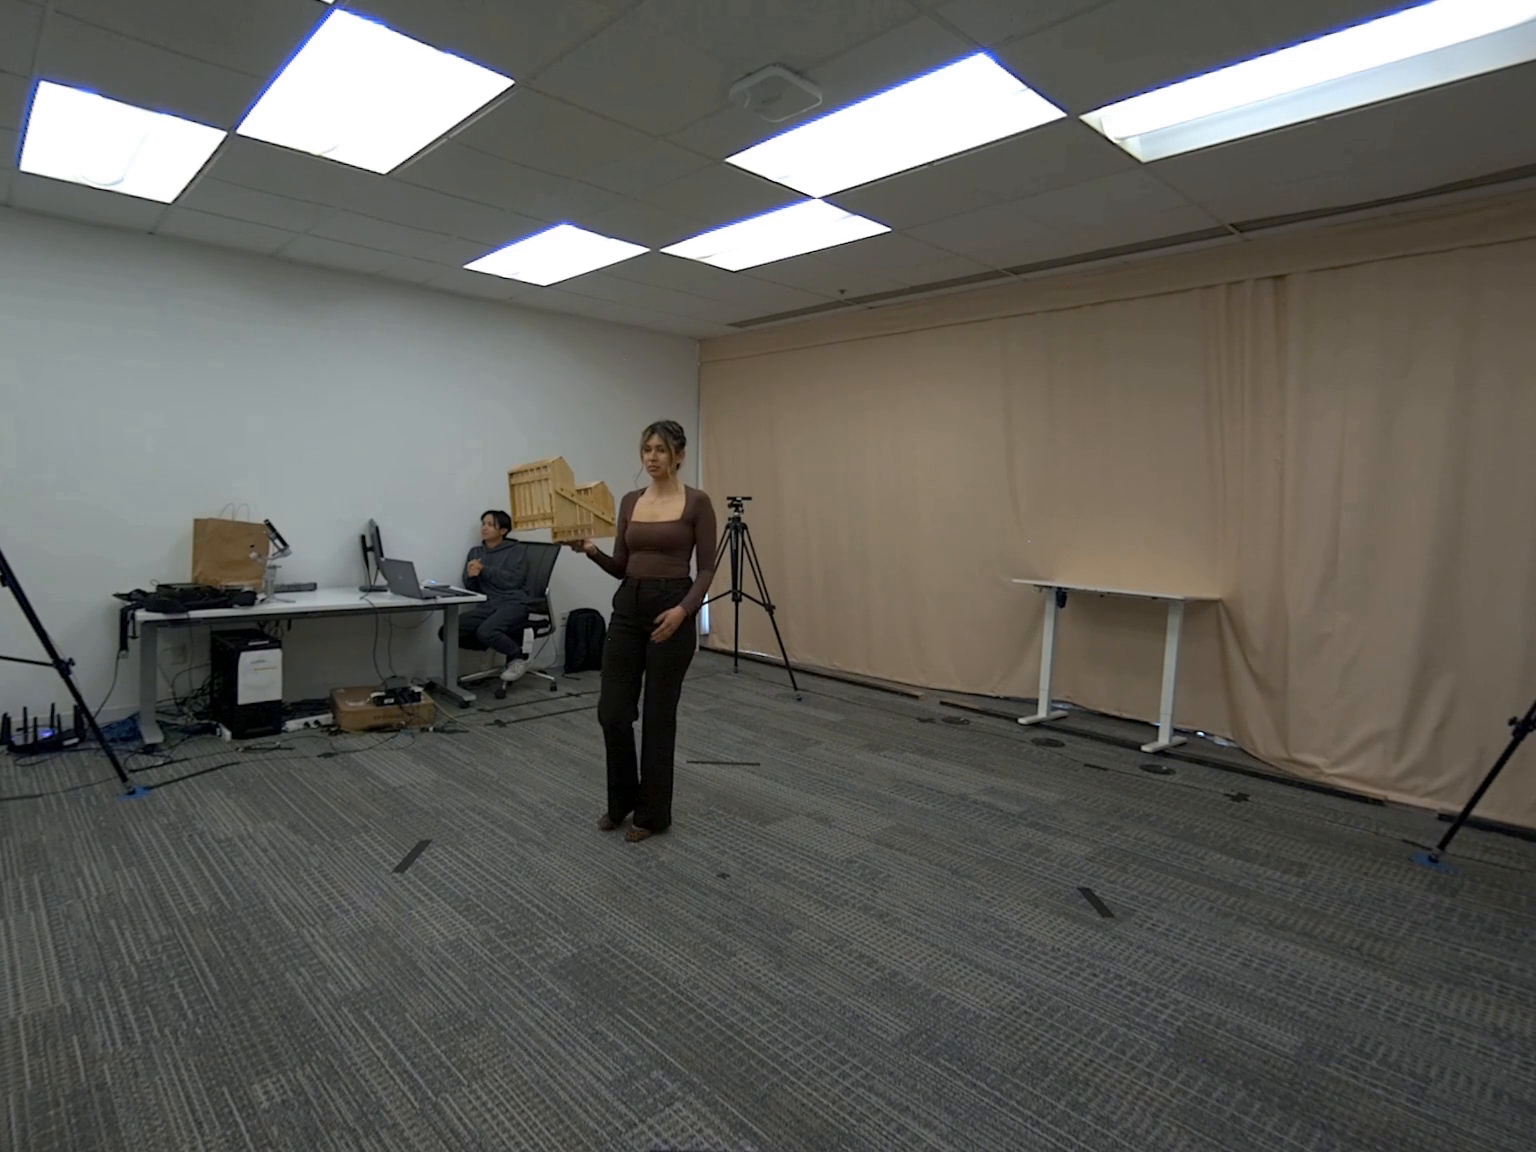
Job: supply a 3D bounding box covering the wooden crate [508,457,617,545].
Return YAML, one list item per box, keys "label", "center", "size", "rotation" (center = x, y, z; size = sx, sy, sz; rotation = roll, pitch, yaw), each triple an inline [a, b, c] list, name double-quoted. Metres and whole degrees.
- label: "wooden crate"
  center: [-0.771, -0.281, 3.146]
  size: [0.332, 0.301, 0.267]
  rotation: [-2, 3, 45]
